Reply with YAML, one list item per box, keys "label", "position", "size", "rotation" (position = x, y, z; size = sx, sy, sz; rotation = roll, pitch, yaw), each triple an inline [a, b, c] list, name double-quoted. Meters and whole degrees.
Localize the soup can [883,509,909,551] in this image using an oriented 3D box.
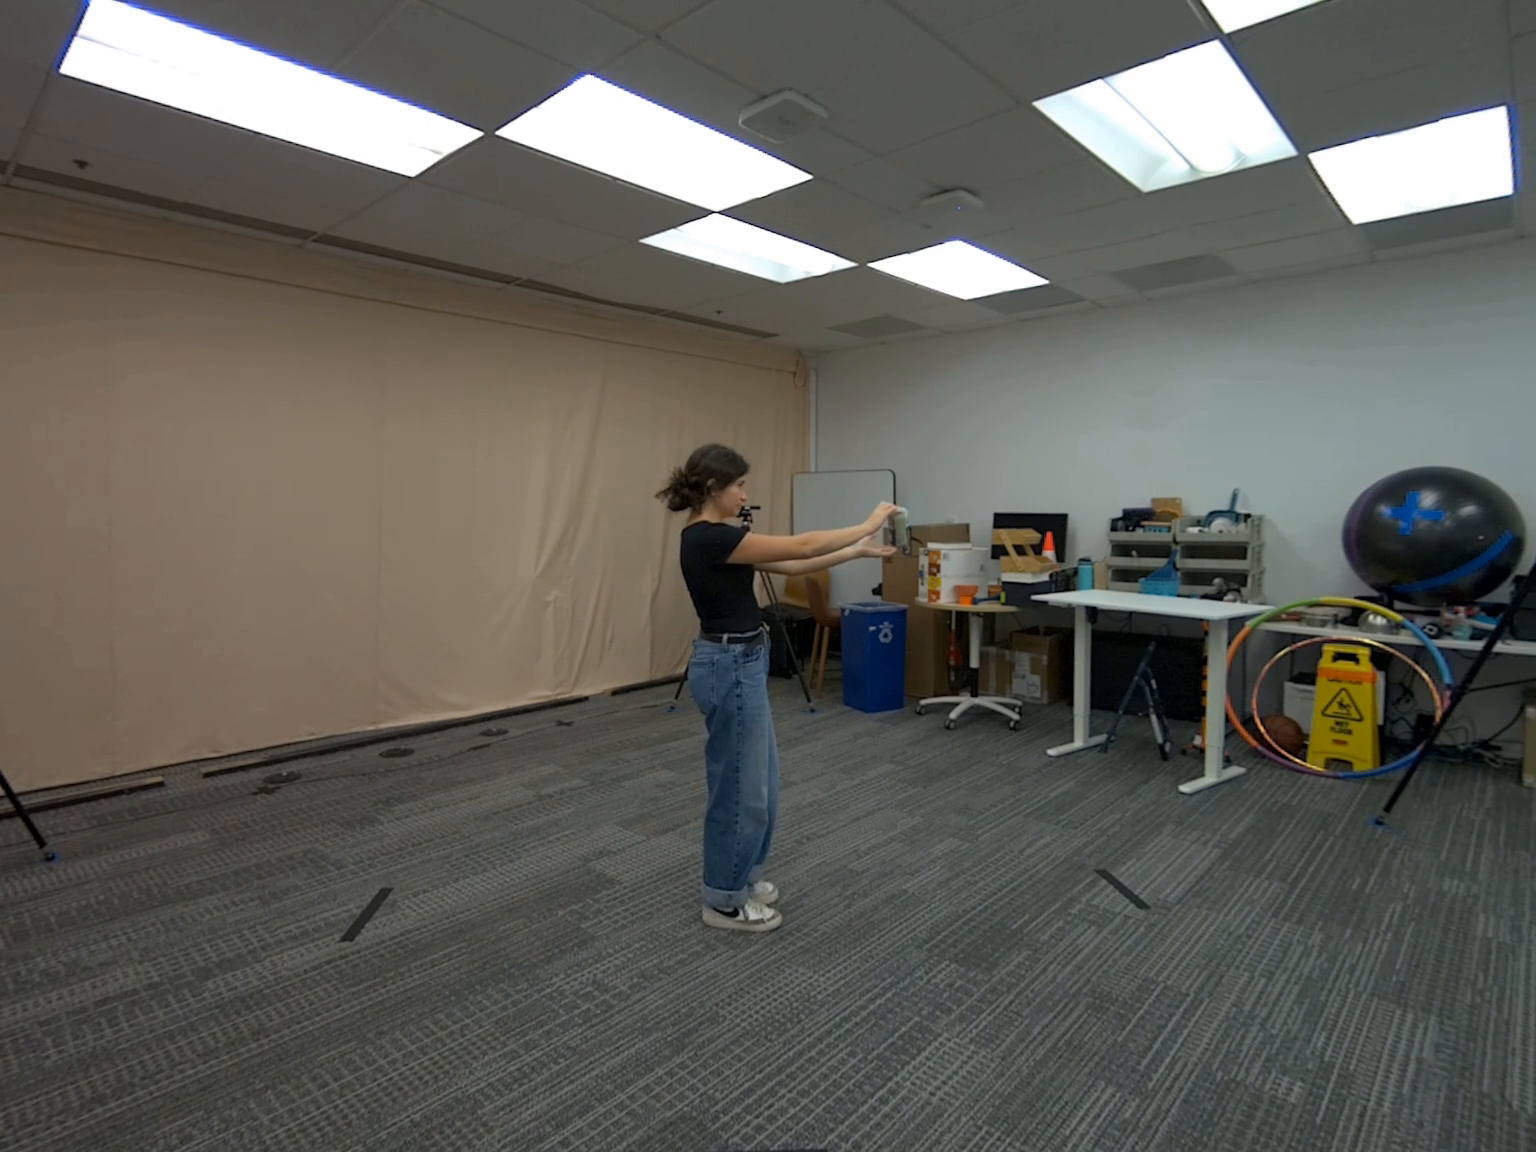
- label: "soup can"
  position: [0.439, -0.162, 2.764]
  size: [0.067, 0.120, 0.068]
  rotation: [-8, 17, 1]
